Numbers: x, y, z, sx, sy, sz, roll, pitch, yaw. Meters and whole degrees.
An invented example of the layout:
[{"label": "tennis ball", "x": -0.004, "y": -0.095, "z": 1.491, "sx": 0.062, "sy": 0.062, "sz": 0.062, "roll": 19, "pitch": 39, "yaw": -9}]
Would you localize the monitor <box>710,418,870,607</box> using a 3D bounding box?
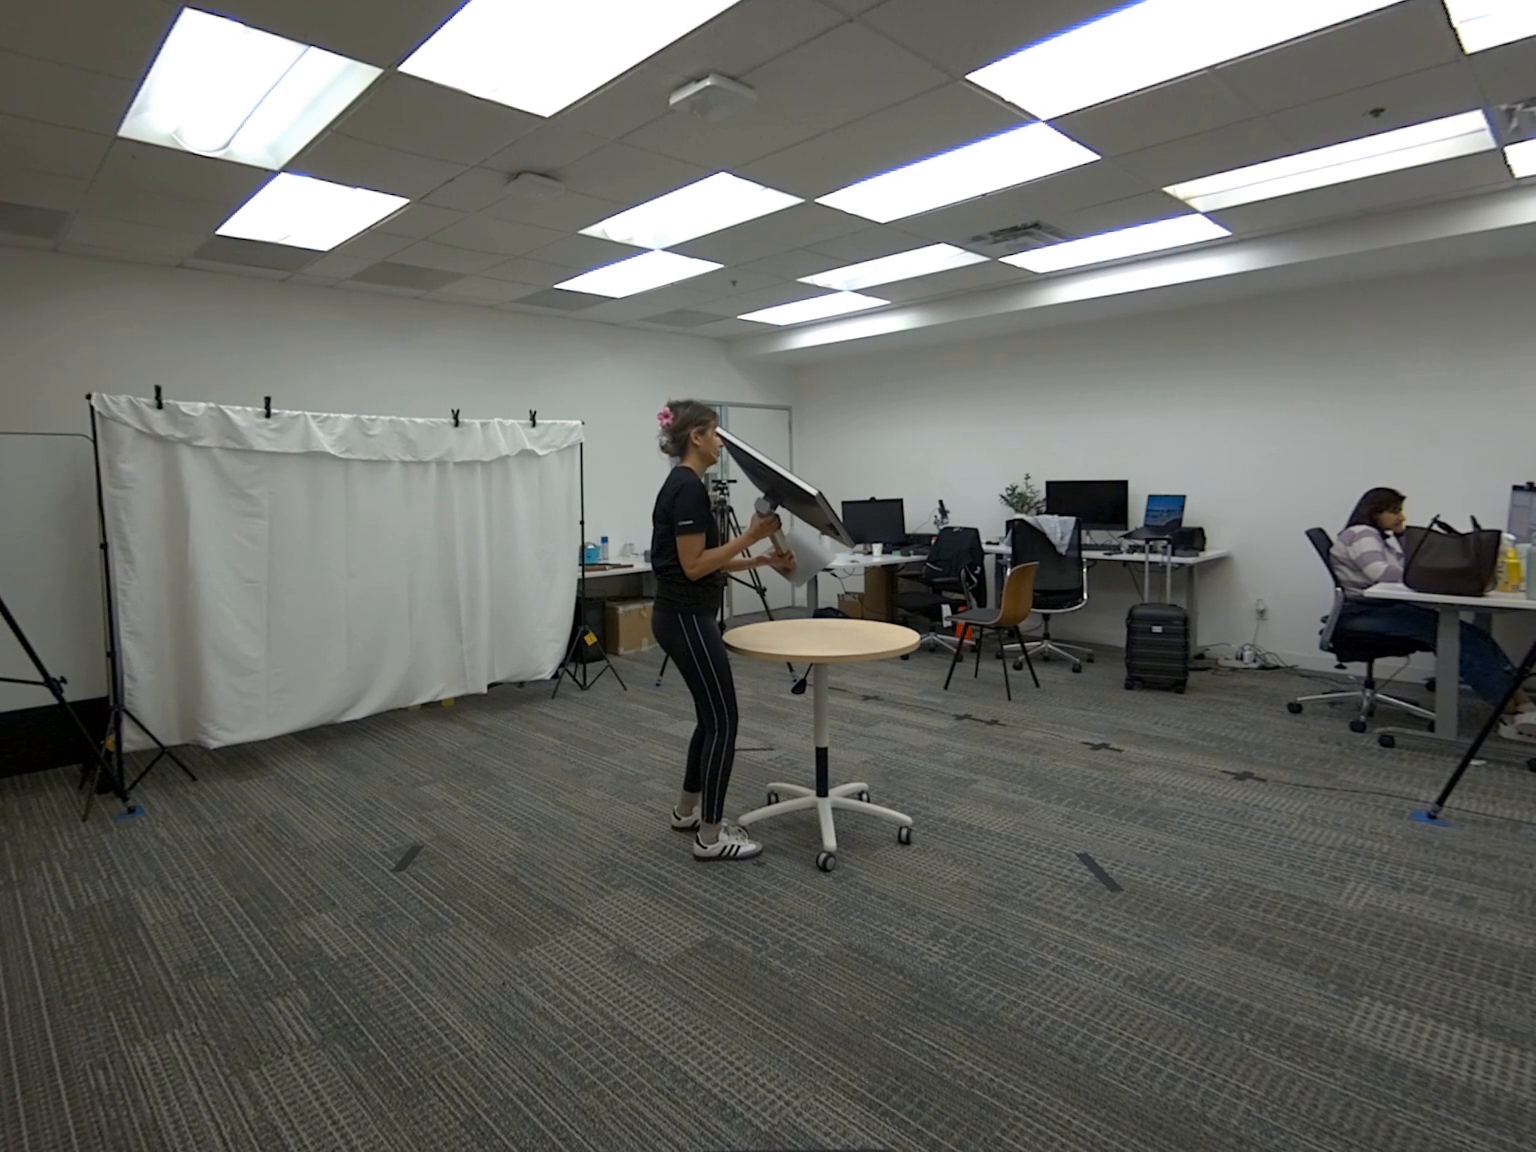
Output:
[{"label": "monitor", "x": 0.063, "y": -0.238, "z": 3.123, "sx": 0.186, "sy": 0.504, "sz": 0.560, "roll": -39, "pitch": 46, "yaw": -19}]
